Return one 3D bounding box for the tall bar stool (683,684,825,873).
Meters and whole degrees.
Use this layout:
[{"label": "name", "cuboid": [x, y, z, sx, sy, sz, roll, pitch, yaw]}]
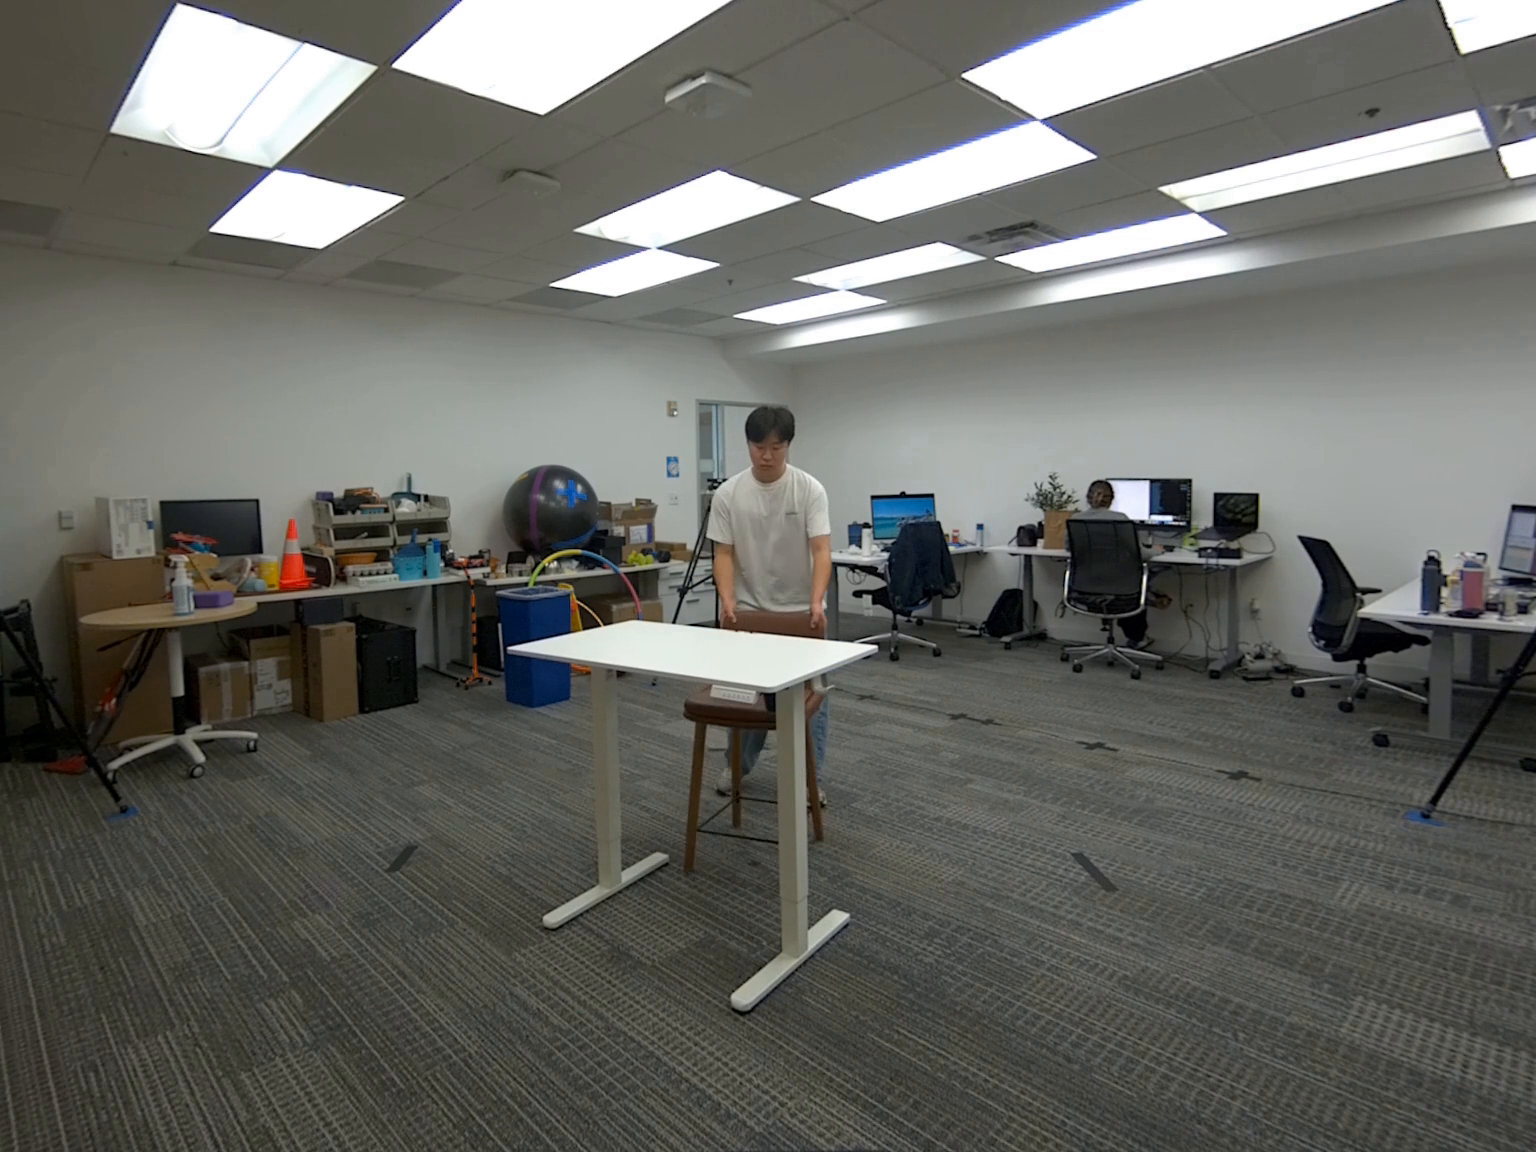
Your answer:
[{"label": "tall bar stool", "cuboid": [-0.041, 0.601, 3.159, 0.466, 0.888, 0.458, 1, 2, 23]}]
